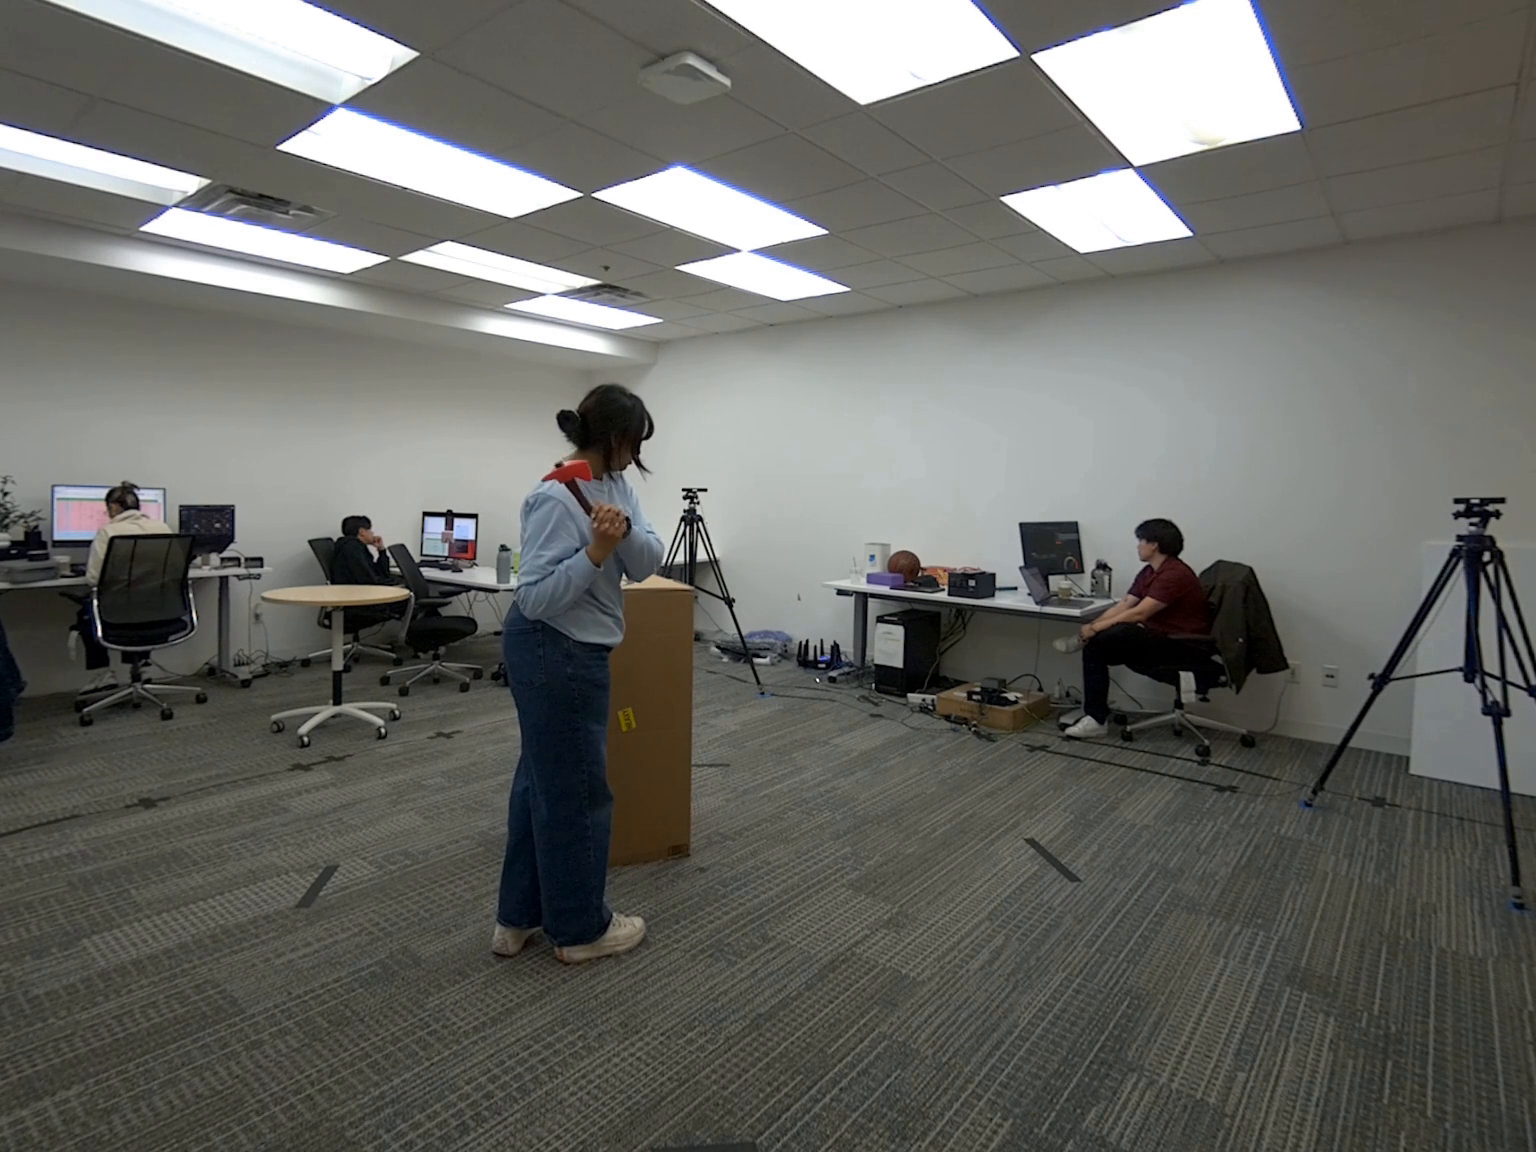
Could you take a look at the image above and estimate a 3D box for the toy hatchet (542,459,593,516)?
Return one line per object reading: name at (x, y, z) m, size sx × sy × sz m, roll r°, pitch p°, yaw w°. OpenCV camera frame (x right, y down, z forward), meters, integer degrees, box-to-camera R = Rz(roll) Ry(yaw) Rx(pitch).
toy hatchet at (-0.445, -0.207, 2.197) m, size 0.261 × 0.132 × 0.030 m, roll 40°, pitch 26°, yaw -27°
